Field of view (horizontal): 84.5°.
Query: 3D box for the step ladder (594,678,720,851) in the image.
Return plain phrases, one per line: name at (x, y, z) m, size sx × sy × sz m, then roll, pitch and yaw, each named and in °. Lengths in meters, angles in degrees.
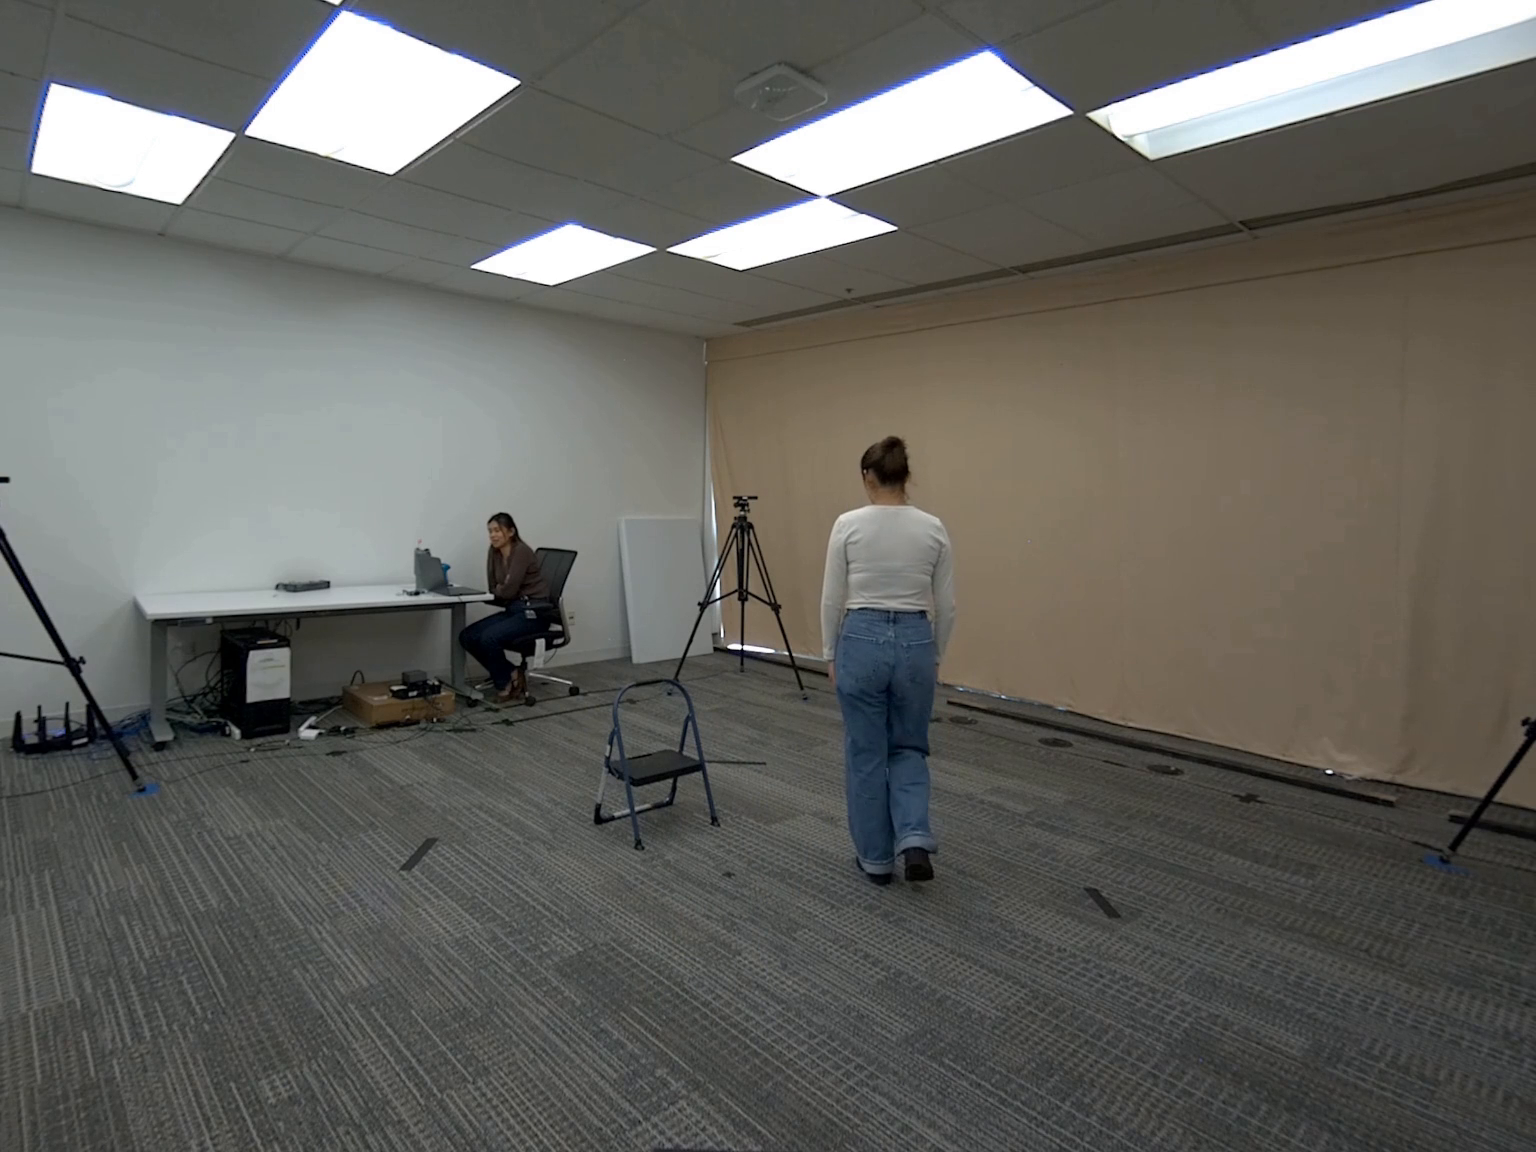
step ladder at (-0.472, 0.752, 3.554) m, size 0.421 × 0.605 × 0.358 m, roll -1°, pitch 4°, yaw -43°
